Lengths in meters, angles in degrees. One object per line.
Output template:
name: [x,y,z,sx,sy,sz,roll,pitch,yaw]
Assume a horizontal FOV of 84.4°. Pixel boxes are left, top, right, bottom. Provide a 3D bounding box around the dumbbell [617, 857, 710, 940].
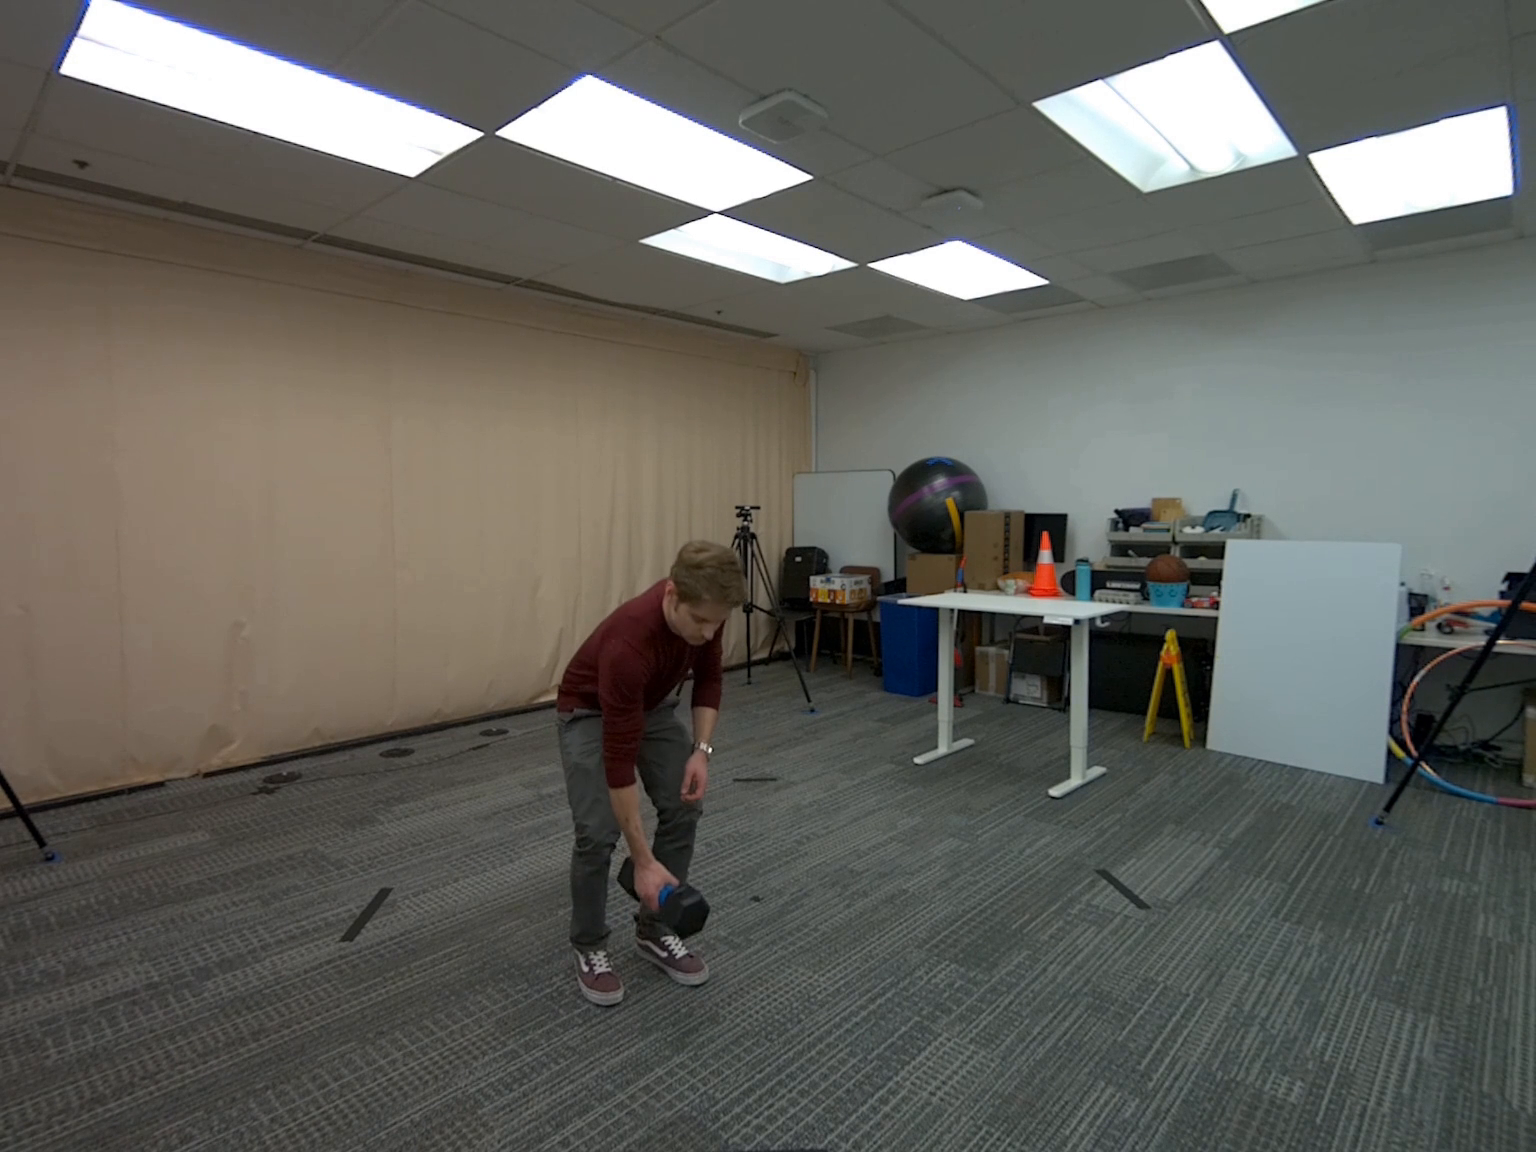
dumbbell: [-0.275,0.840,2.234,0.108,0.120,0.303,-41,29,-26]
